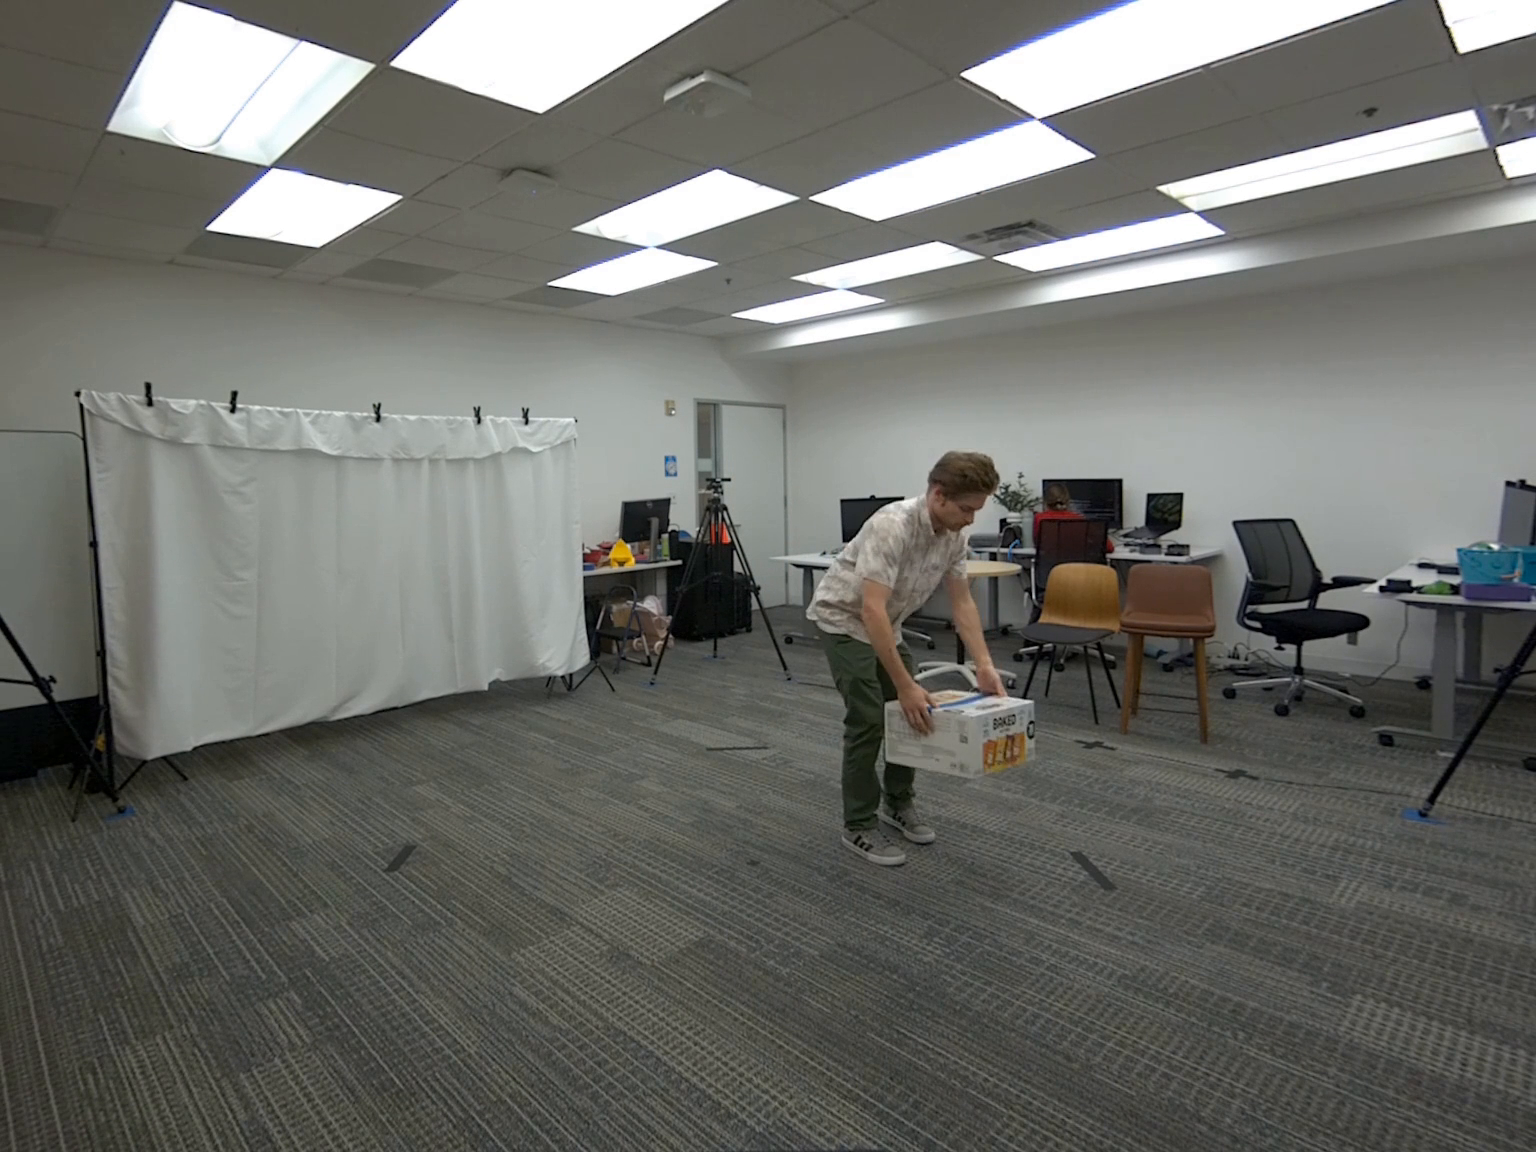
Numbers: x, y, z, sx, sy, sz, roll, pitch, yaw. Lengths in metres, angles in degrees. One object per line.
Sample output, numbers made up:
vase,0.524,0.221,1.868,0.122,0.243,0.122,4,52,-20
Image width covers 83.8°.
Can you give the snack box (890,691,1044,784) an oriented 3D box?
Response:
snack box,0.685,0.539,2.945,0.393,0.206,0.350,-1,0,-44
